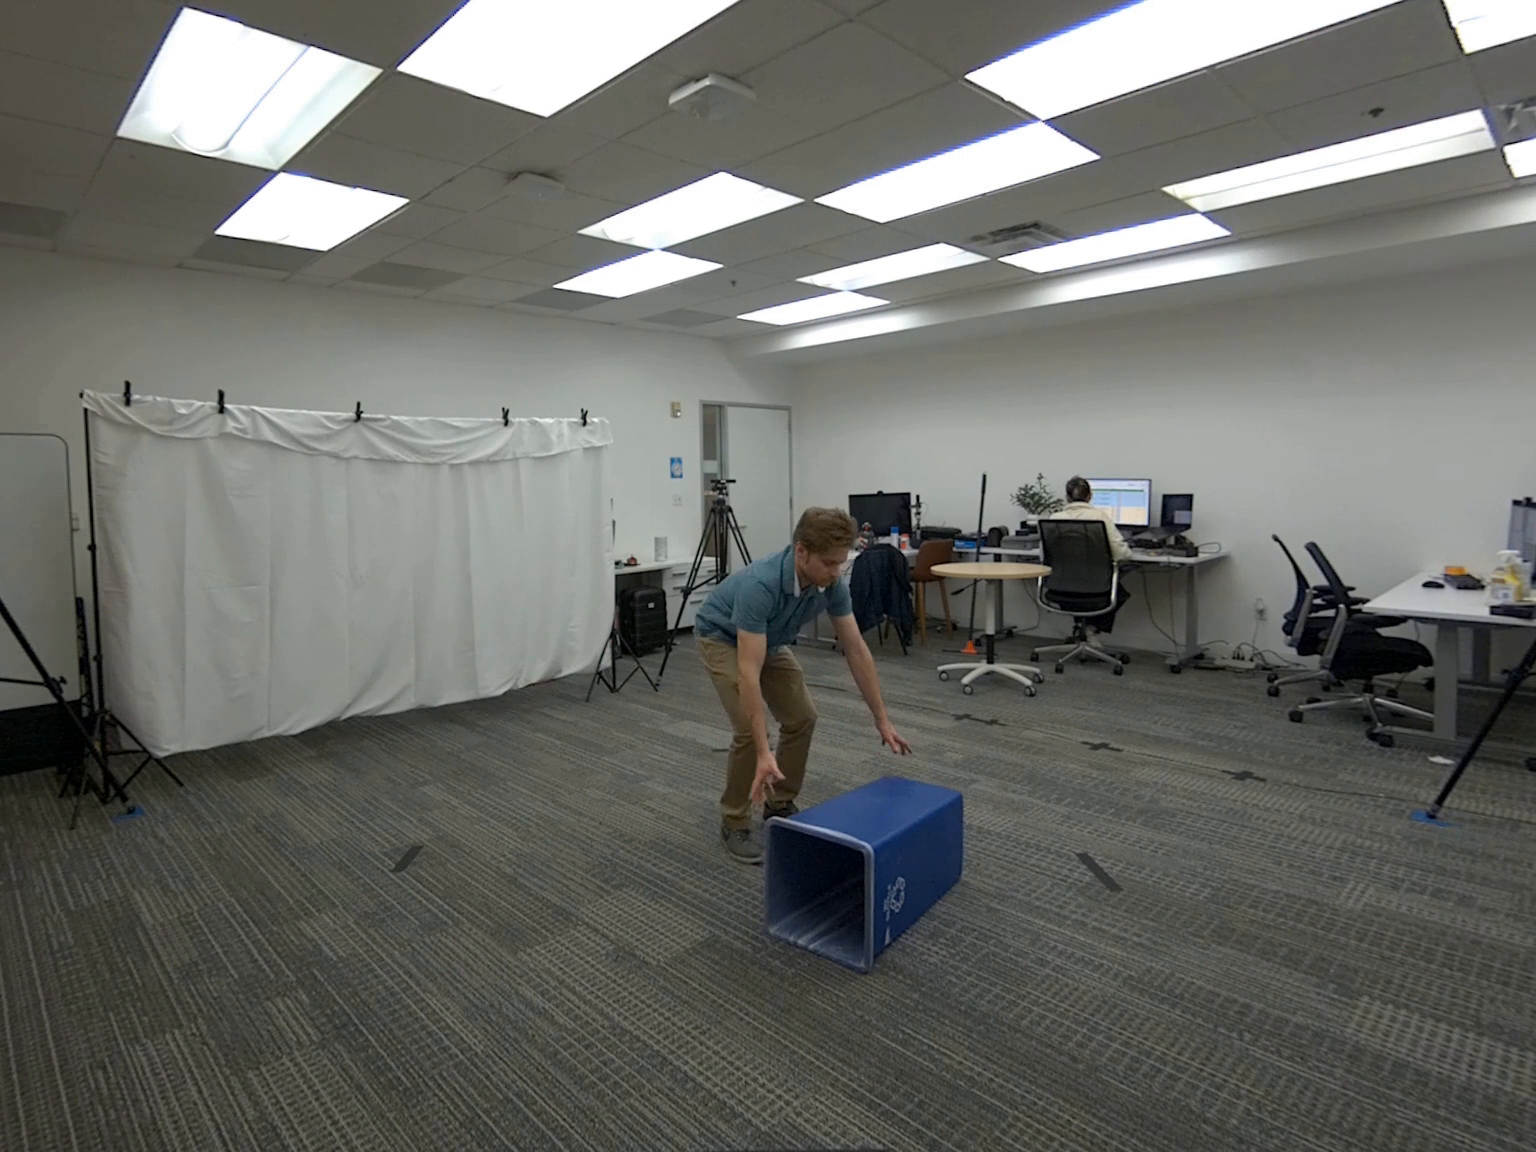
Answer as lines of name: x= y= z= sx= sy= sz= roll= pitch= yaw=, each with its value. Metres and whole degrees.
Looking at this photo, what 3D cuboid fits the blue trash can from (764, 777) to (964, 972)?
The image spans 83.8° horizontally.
blue trash can: x=0.342 y=0.913 z=2.782 sx=0.385 sy=0.377 sz=0.694 roll=2 pitch=3 yaw=37
